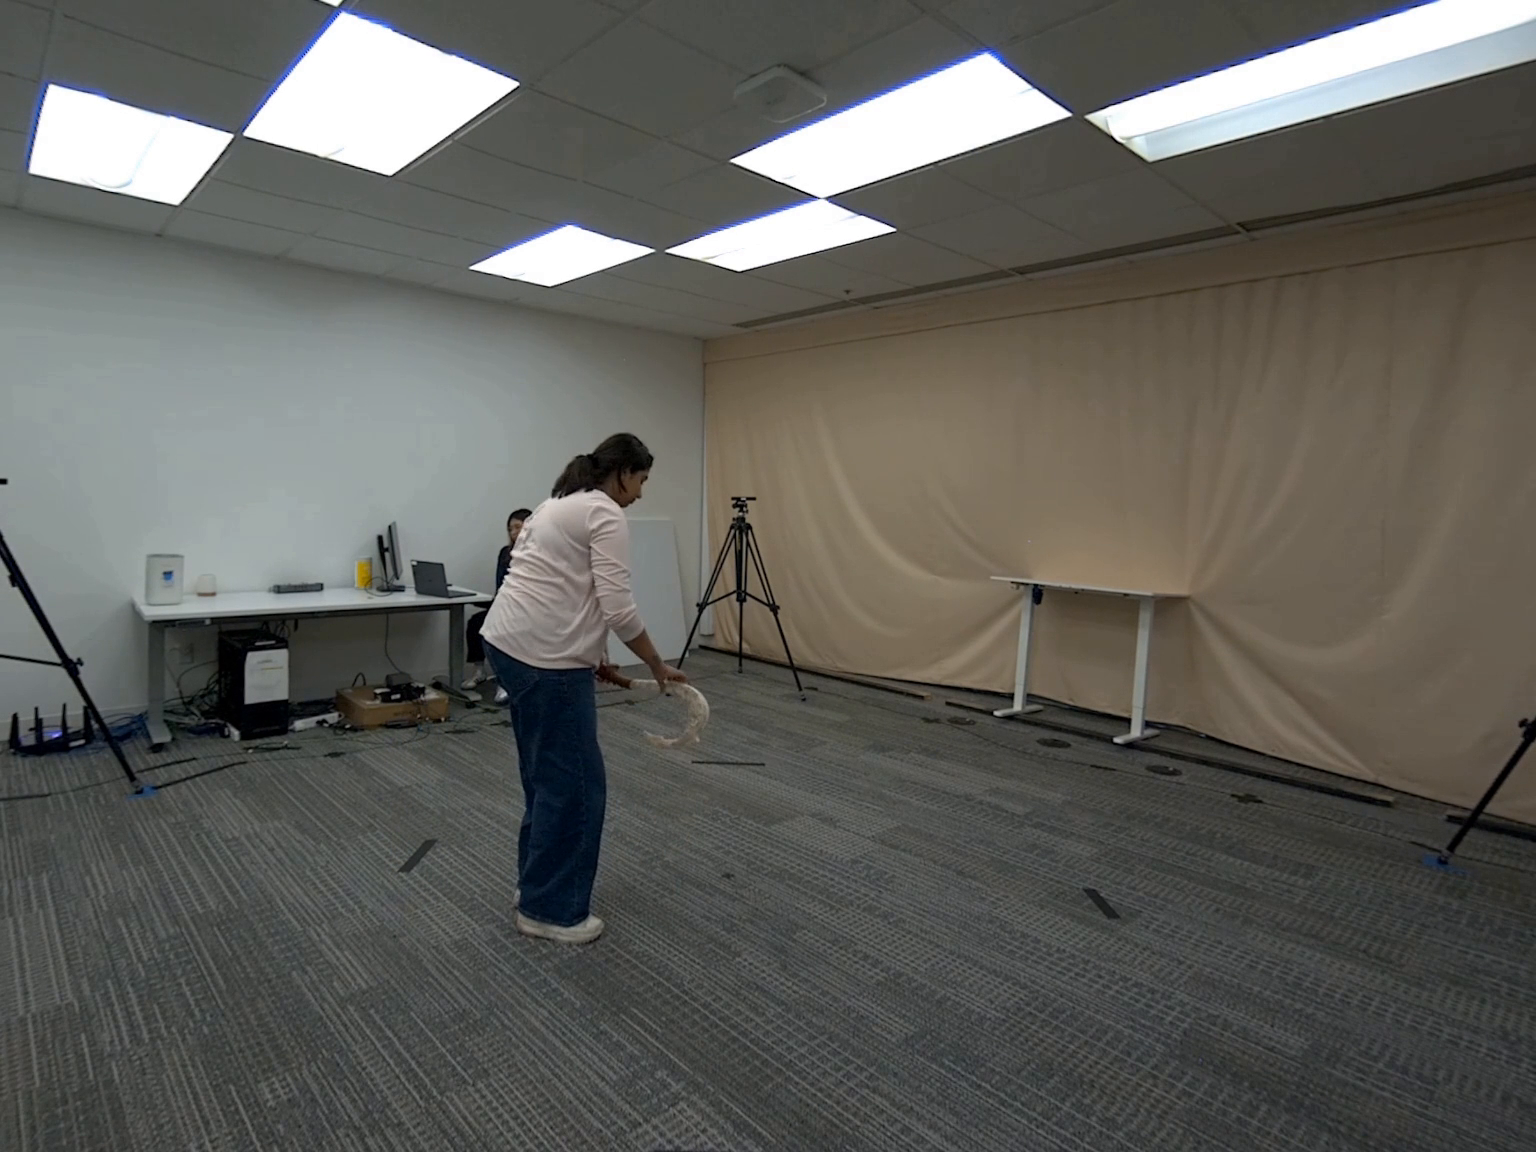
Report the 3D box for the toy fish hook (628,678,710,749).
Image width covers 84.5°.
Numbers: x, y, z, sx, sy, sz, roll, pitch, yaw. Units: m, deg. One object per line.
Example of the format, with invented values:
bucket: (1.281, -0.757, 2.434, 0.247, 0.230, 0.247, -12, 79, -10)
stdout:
toy fish hook: (-0.438, 0.430, 2.827, 0.519, 0.226, 0.047, 19, -21, 26)
